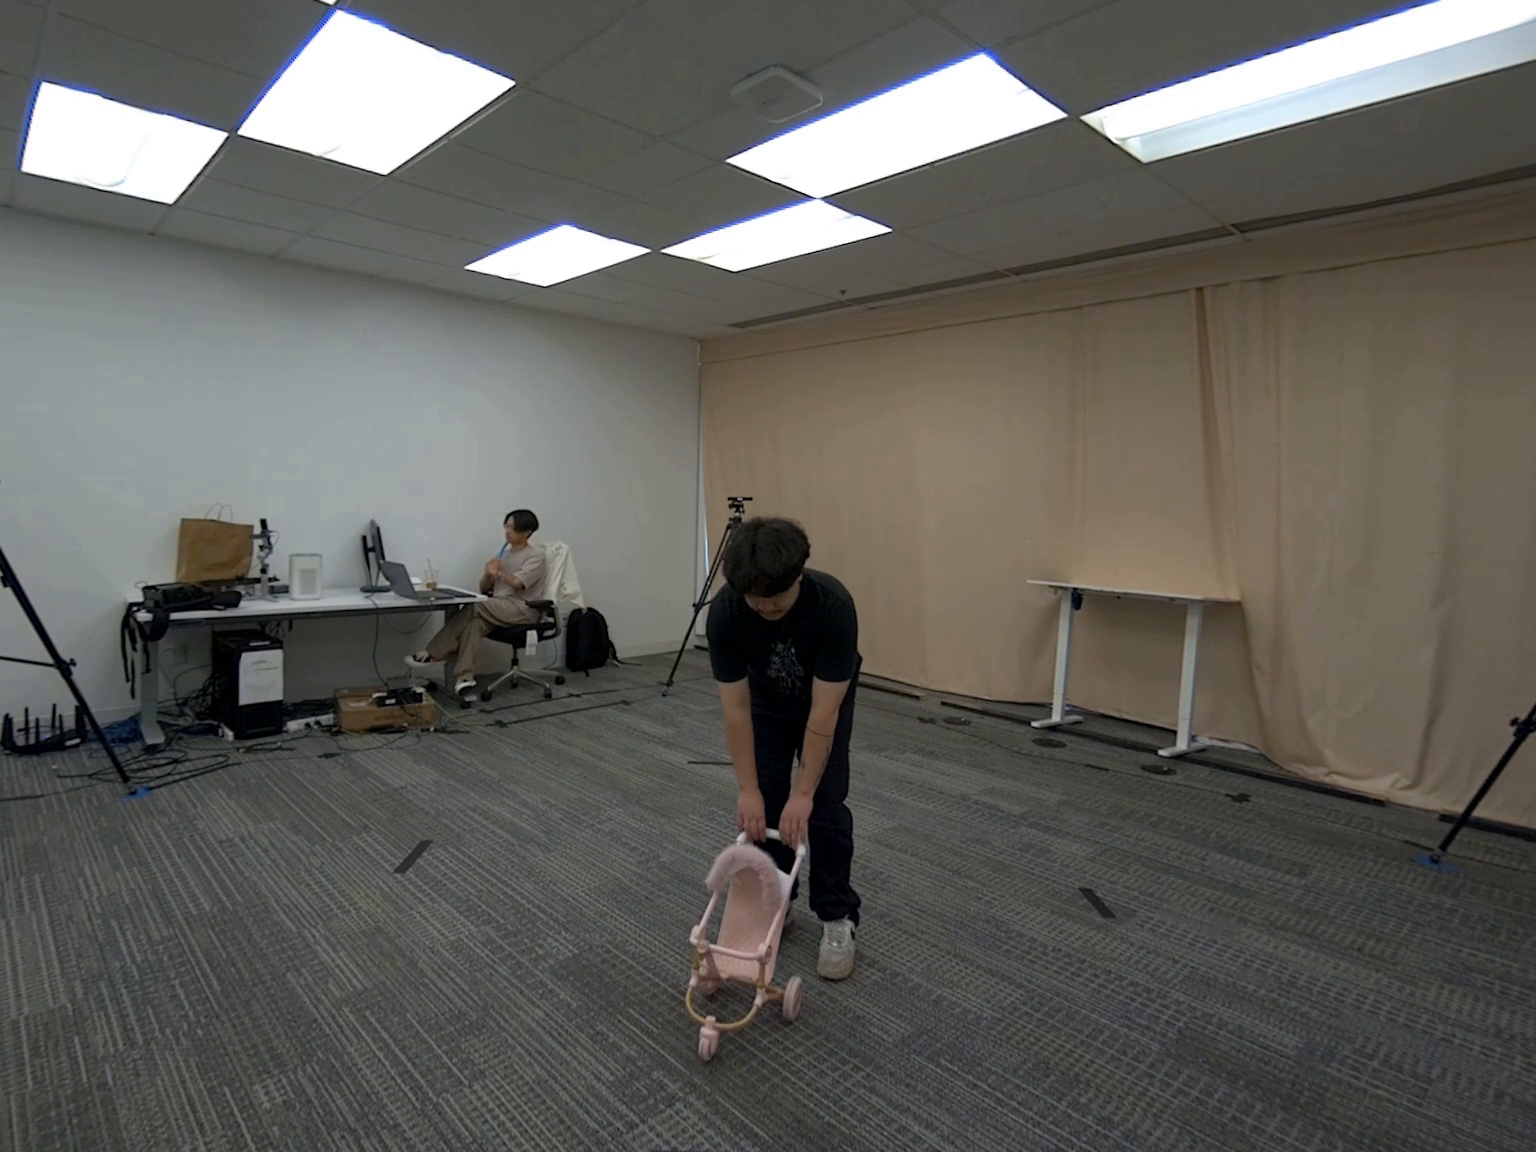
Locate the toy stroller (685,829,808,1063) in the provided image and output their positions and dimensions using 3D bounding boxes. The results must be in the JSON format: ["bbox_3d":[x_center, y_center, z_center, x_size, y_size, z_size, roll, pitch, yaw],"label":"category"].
[{"bbox_3d":[-0.078,0.967,2.241,0.287,0.538,0.332,3,-12,28],"label":"toy stroller"}]
